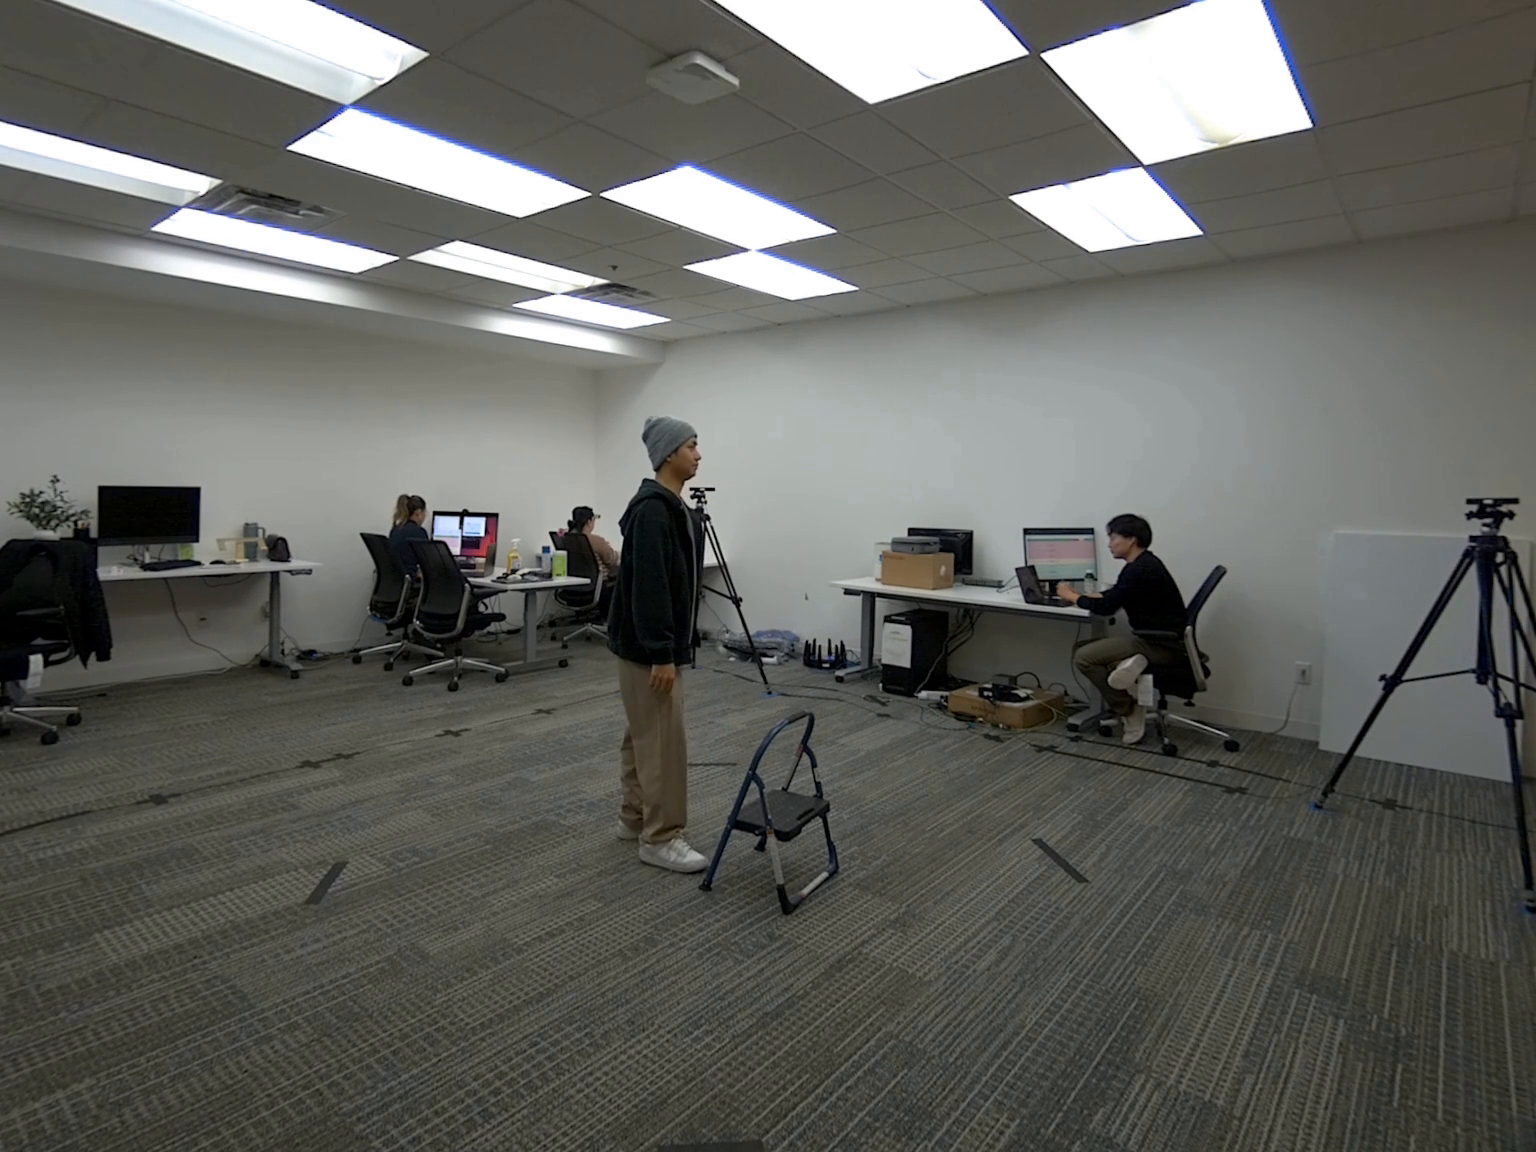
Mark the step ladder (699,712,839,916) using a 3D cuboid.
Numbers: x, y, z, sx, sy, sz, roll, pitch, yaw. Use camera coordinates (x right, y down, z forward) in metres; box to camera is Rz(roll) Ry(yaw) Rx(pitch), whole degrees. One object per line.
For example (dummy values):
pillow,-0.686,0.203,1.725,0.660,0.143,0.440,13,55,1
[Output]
step ladder,0.014,0.777,3.017,0.359,0.604,0.420,3,4,29
